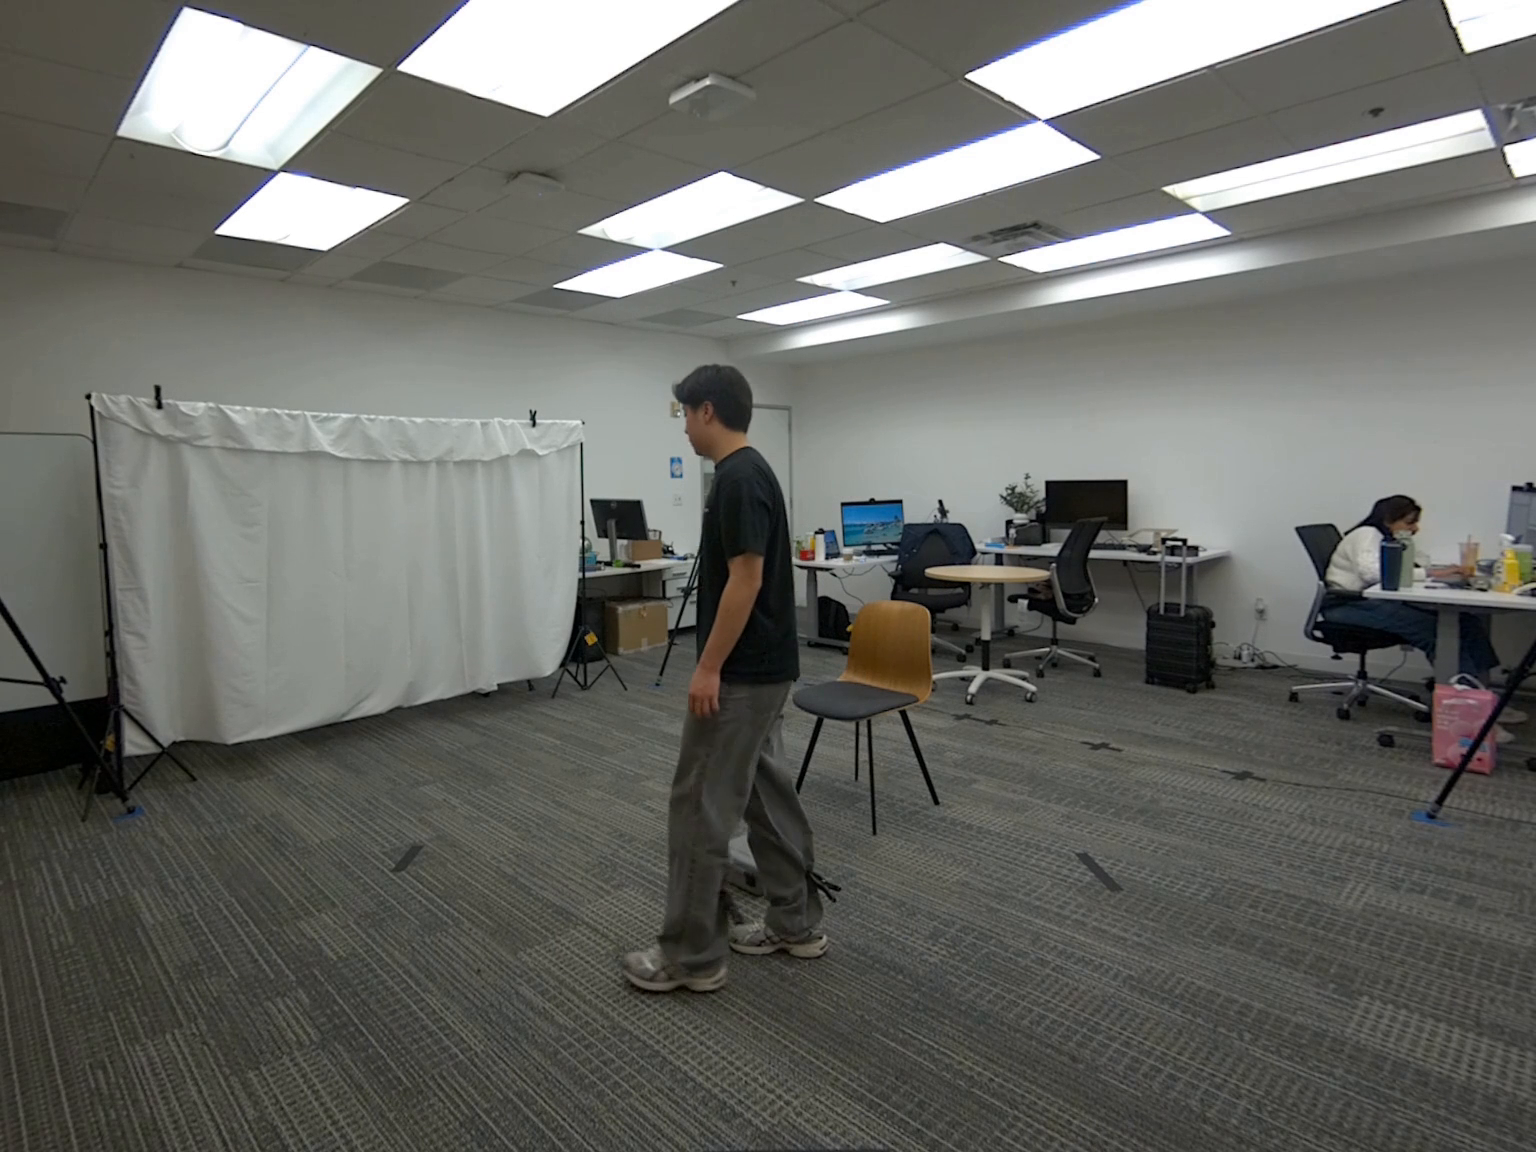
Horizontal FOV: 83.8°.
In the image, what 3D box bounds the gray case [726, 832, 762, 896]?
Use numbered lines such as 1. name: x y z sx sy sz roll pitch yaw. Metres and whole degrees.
1. gray case: -0.022 1.003 3.025 0.279 0.103 0.271 -5 7 -44
